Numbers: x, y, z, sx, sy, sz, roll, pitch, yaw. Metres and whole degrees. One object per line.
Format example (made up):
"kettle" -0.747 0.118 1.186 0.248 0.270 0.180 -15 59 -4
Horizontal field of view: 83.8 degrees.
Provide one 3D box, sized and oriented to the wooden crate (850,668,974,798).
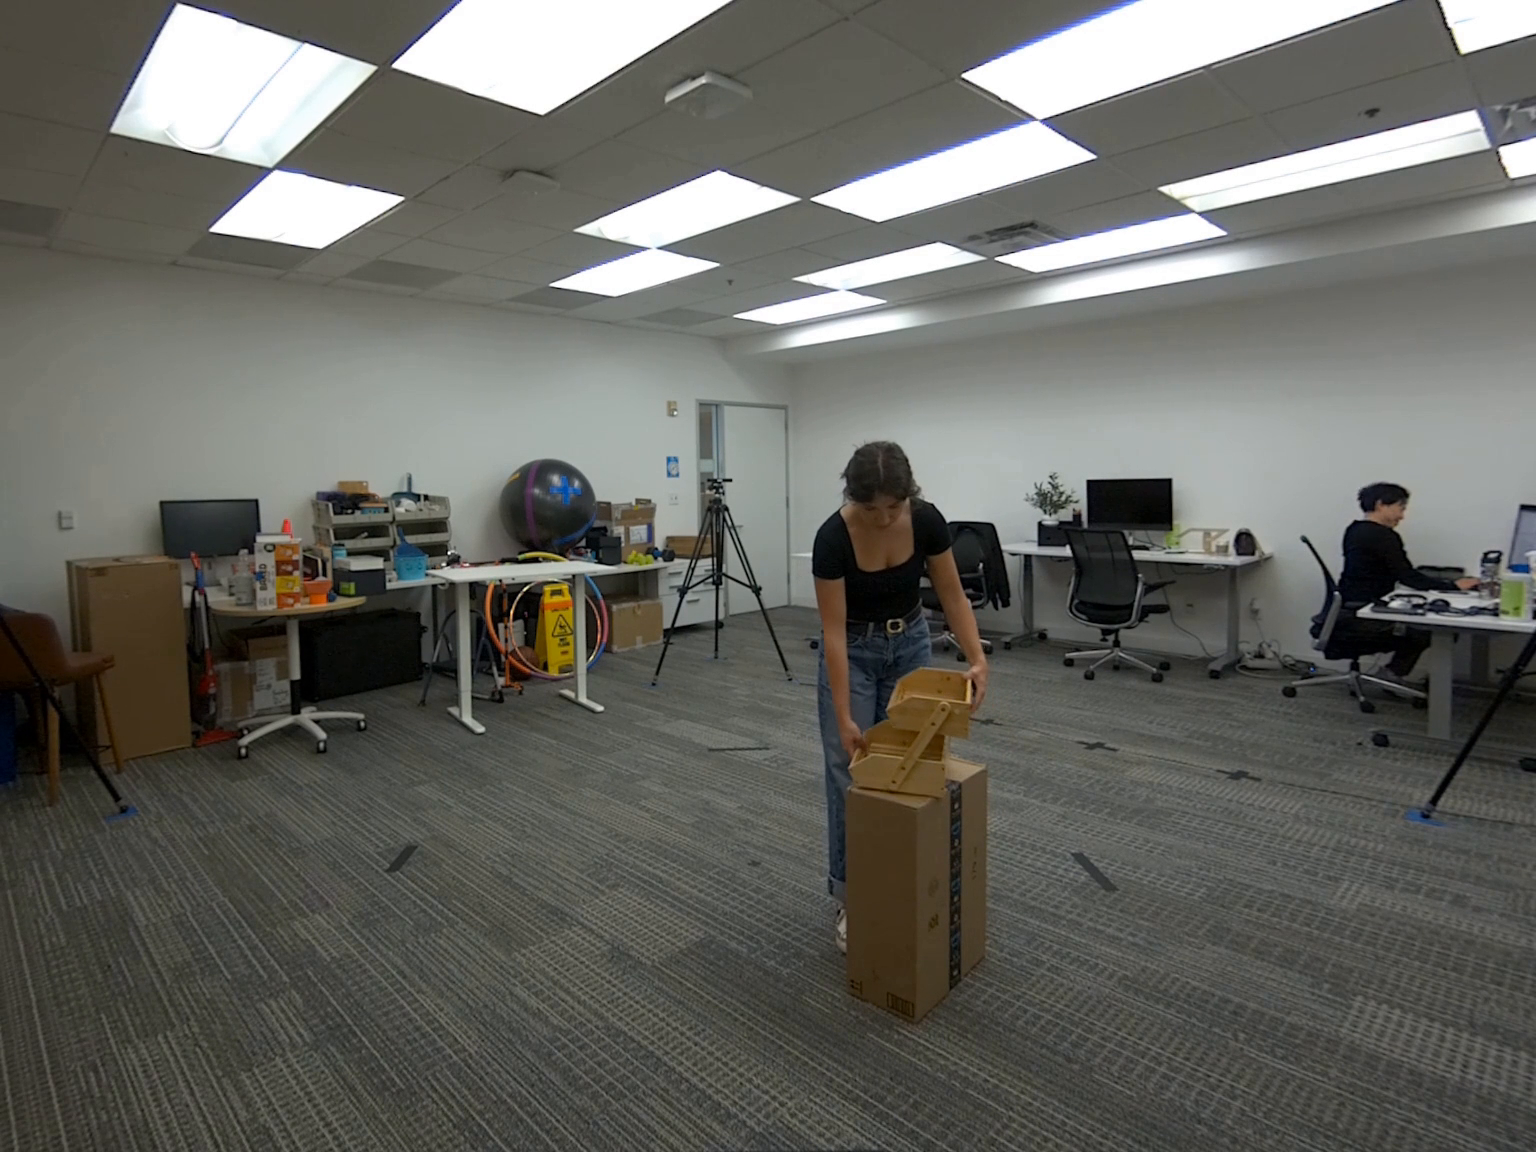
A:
"wooden crate" 0.389 0.411 2.369 0.307 0.271 0.321 3 8 15
